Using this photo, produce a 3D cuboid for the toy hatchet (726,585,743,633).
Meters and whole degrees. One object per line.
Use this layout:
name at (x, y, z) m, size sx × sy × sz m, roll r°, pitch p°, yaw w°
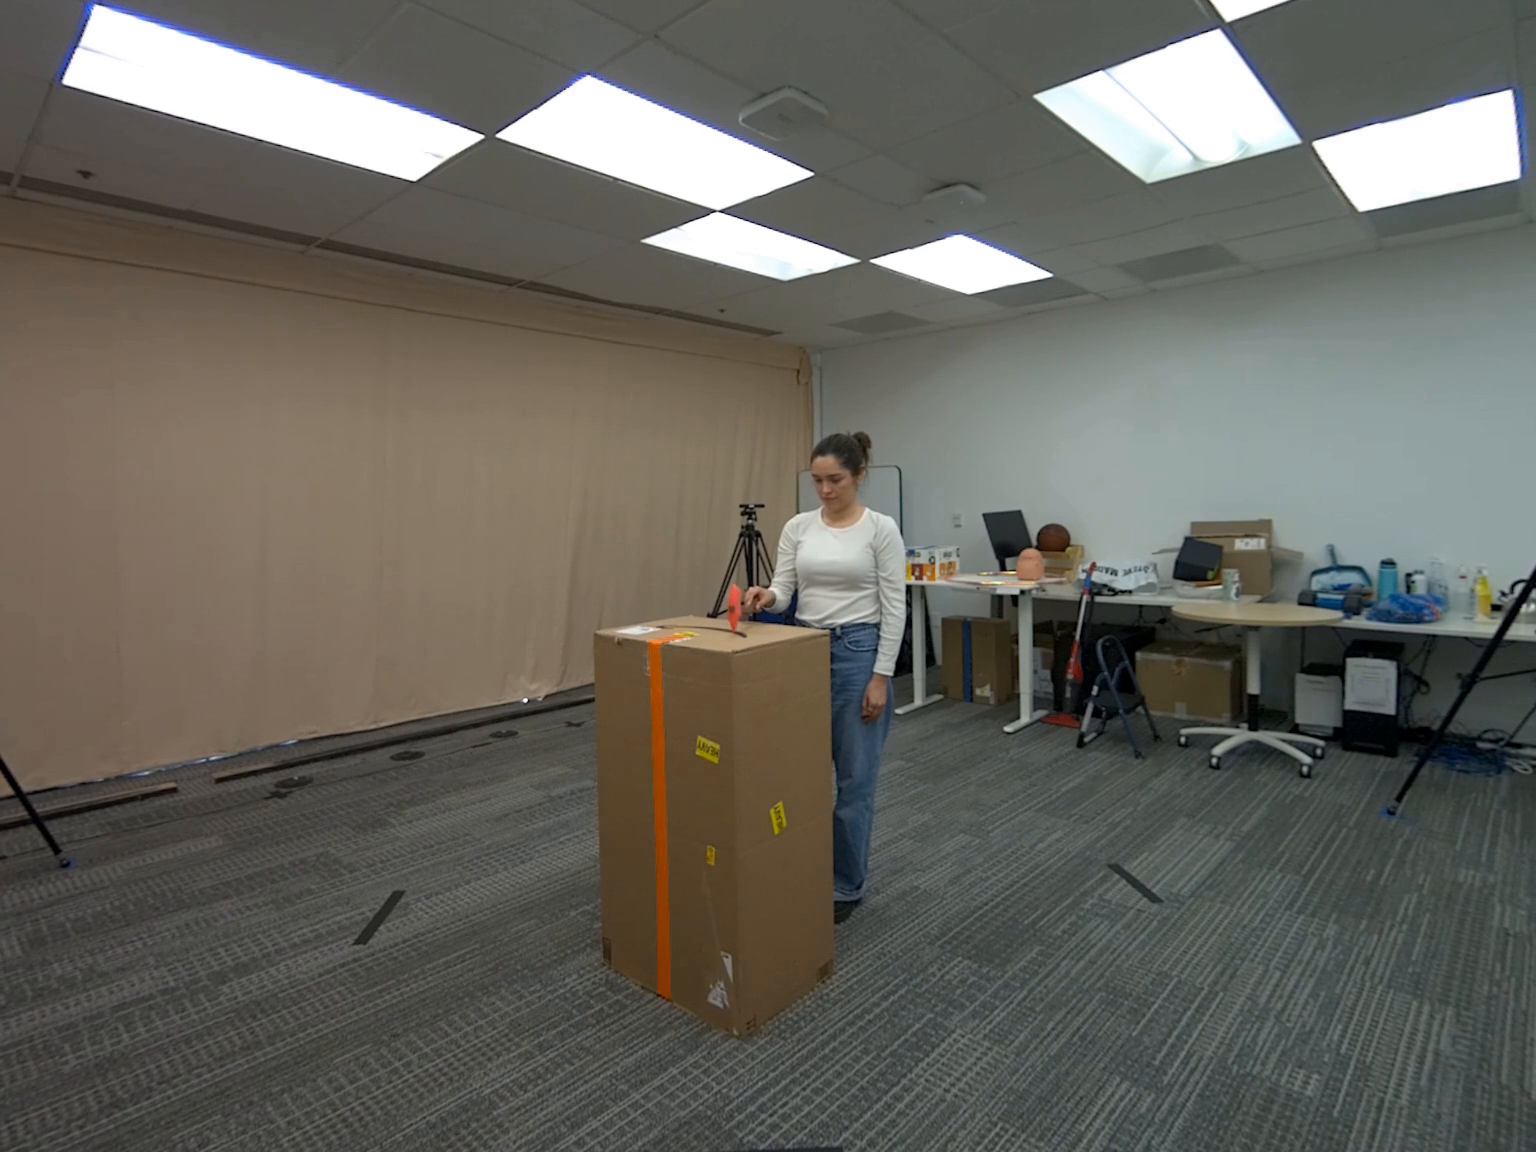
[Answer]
toy hatchet at (-0.073, 0.063, 2.519) m, size 0.030 × 0.130 × 0.268 m, roll -5°, pitch 11°, yaw 14°
